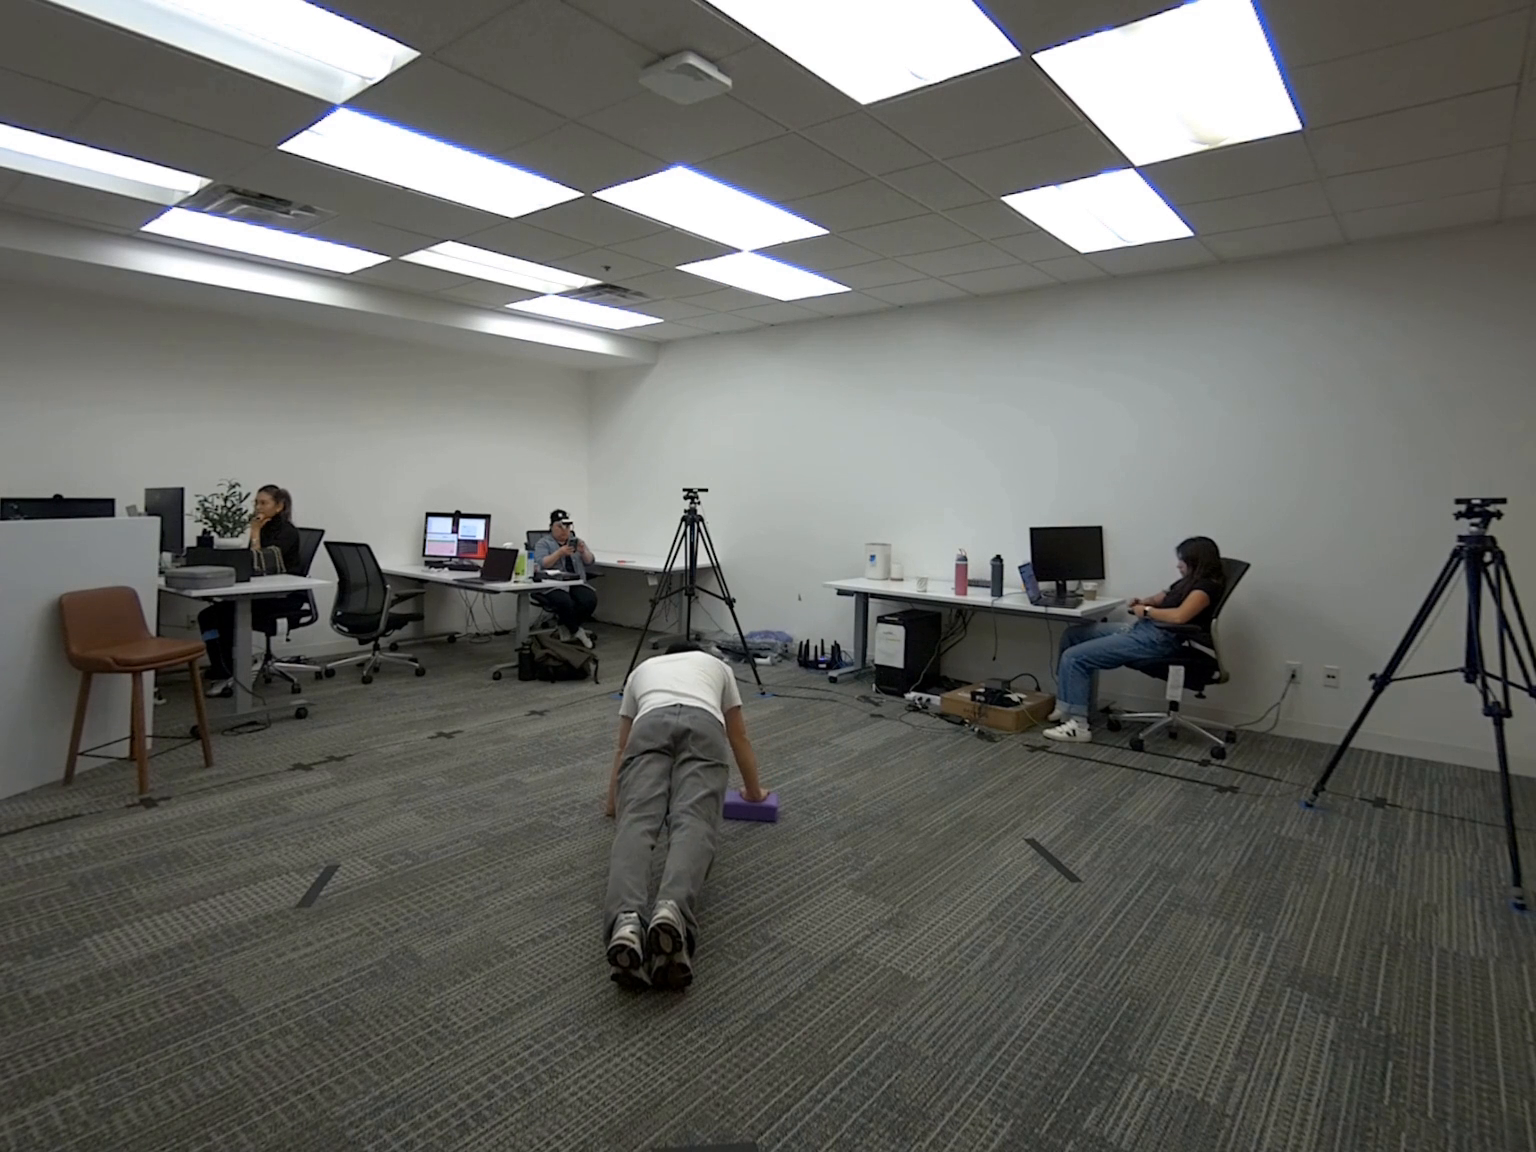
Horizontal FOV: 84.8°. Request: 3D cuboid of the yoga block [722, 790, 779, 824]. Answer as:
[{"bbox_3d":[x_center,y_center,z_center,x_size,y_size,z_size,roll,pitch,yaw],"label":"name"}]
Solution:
[{"bbox_3d":[-0.069,0.980,3.648,0.231,0.076,0.148,0,7,7],"label":"yoga block"}]
